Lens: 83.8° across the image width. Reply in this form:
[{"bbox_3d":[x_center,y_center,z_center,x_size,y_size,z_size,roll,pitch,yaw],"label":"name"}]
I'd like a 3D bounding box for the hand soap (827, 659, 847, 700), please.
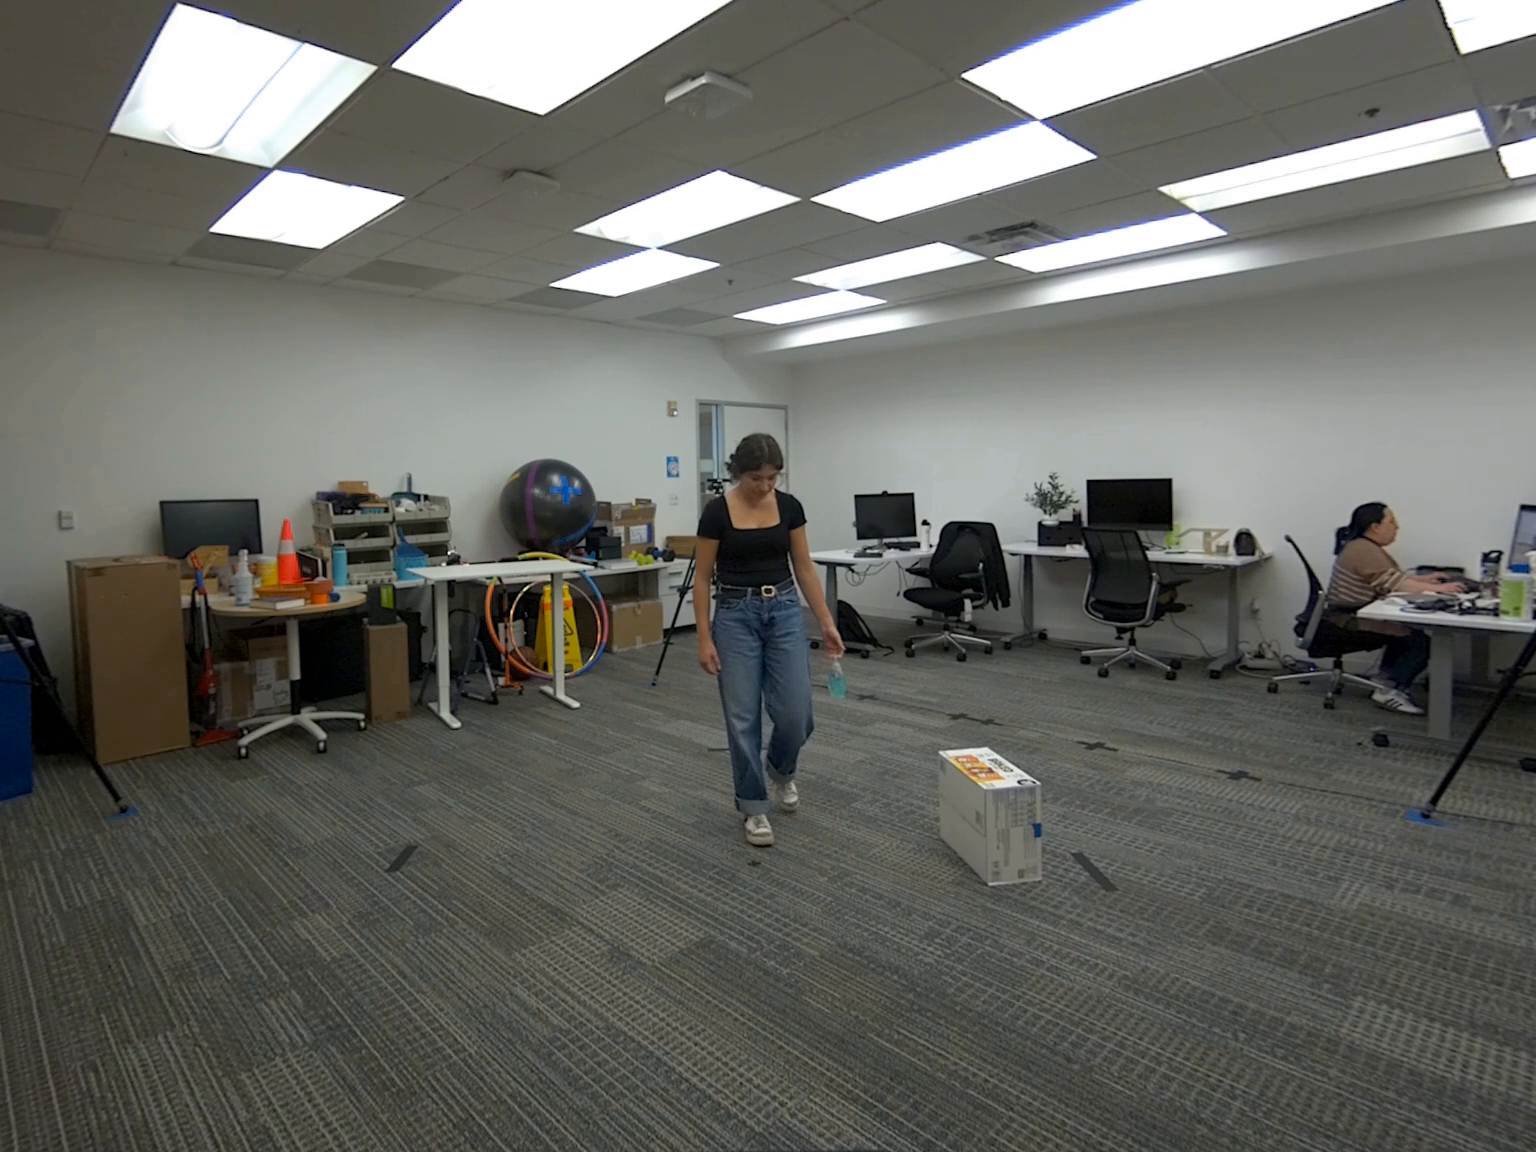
[{"bbox_3d":[0.259,0.383,3.285,0.087,0.167,0.042,6,11,40],"label":"hand soap"}]
